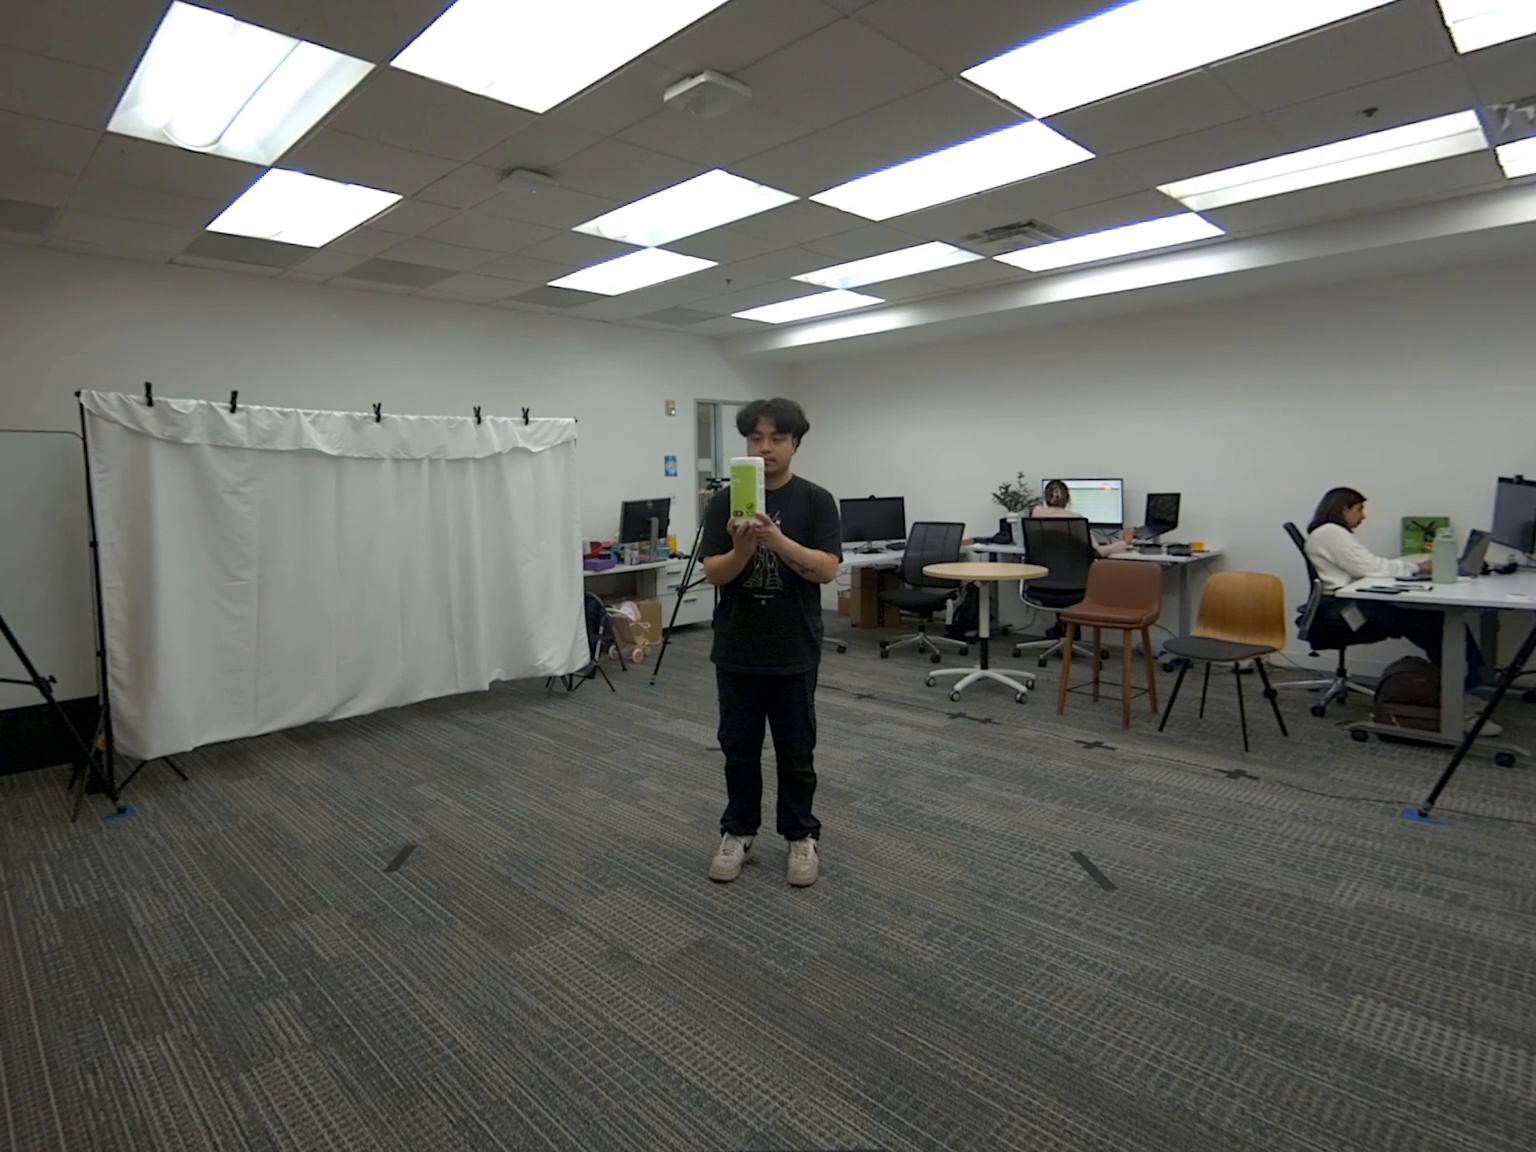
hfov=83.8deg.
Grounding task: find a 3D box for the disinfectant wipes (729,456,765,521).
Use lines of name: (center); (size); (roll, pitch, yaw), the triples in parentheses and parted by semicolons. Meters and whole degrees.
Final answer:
disinfectant wipes: (-0.075, -0.263, 2.703); (0.118, 0.217, 0.118); (-1, 4, -2)
